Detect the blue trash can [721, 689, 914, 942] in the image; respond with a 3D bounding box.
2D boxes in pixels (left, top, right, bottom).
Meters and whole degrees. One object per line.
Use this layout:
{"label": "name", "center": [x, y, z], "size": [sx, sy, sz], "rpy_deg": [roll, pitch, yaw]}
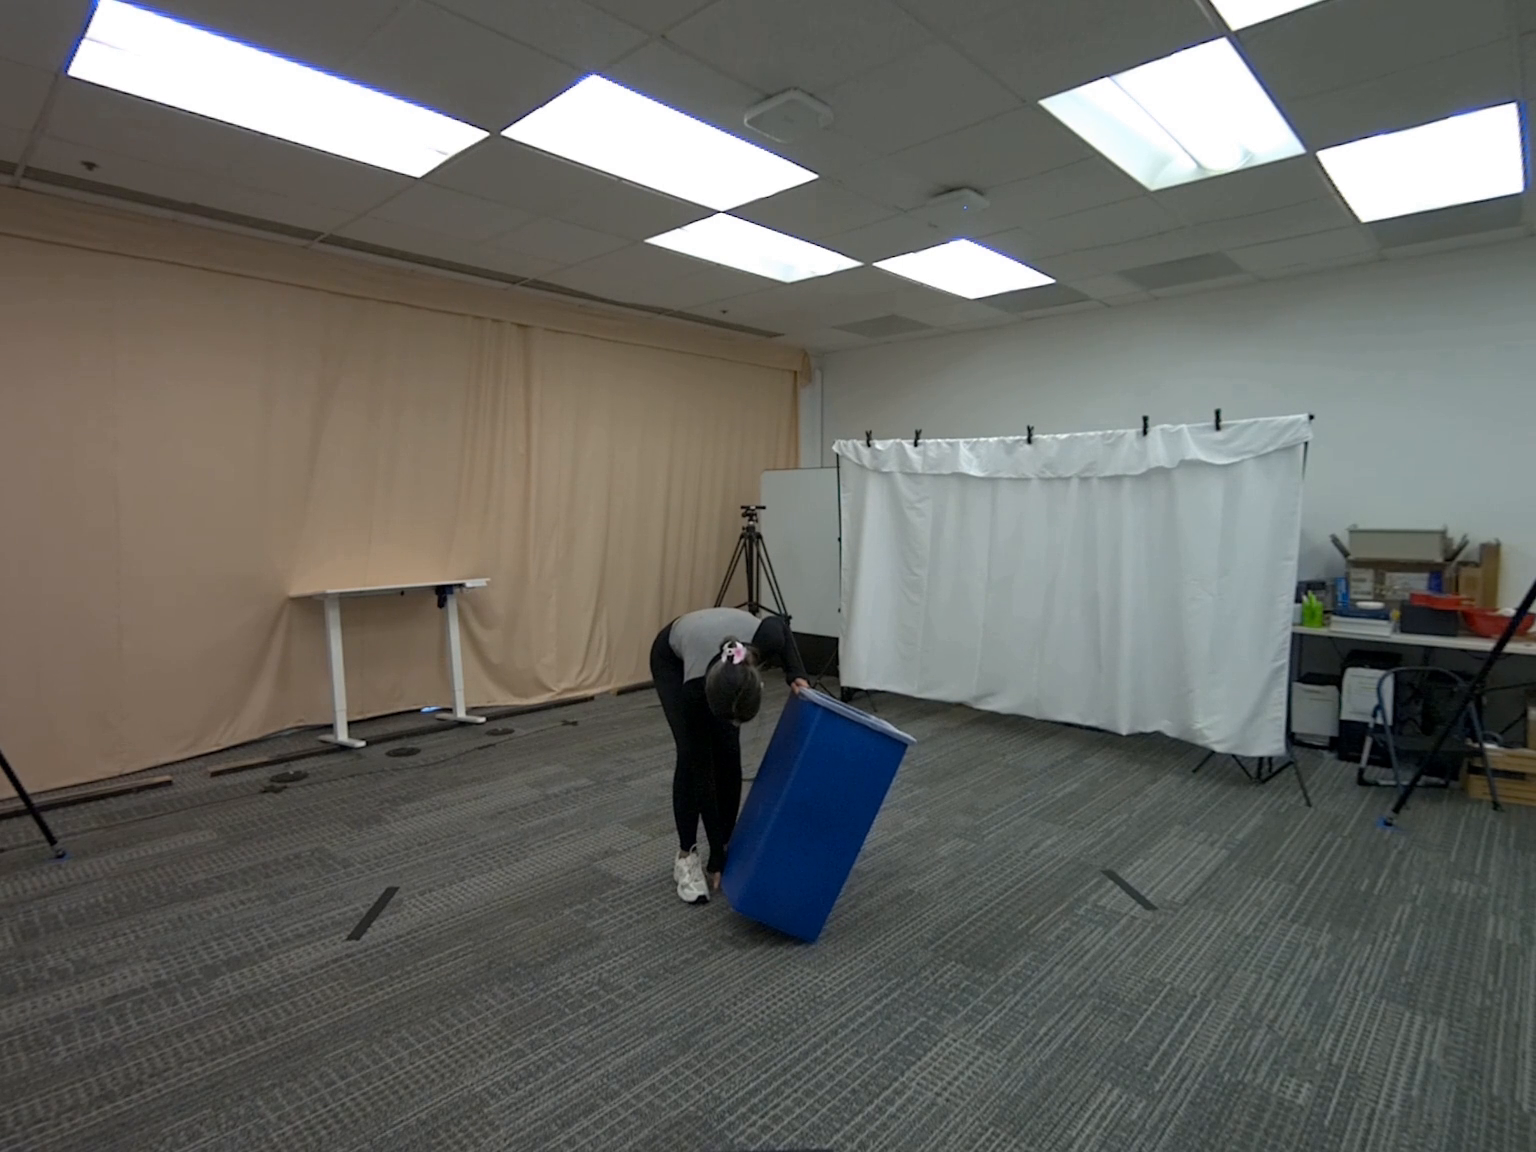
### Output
{"label": "blue trash can", "center": [0.129, 0.766, 2.795], "size": [0.369, 0.714, 0.383], "rpy_deg": [26, -5, -13]}
